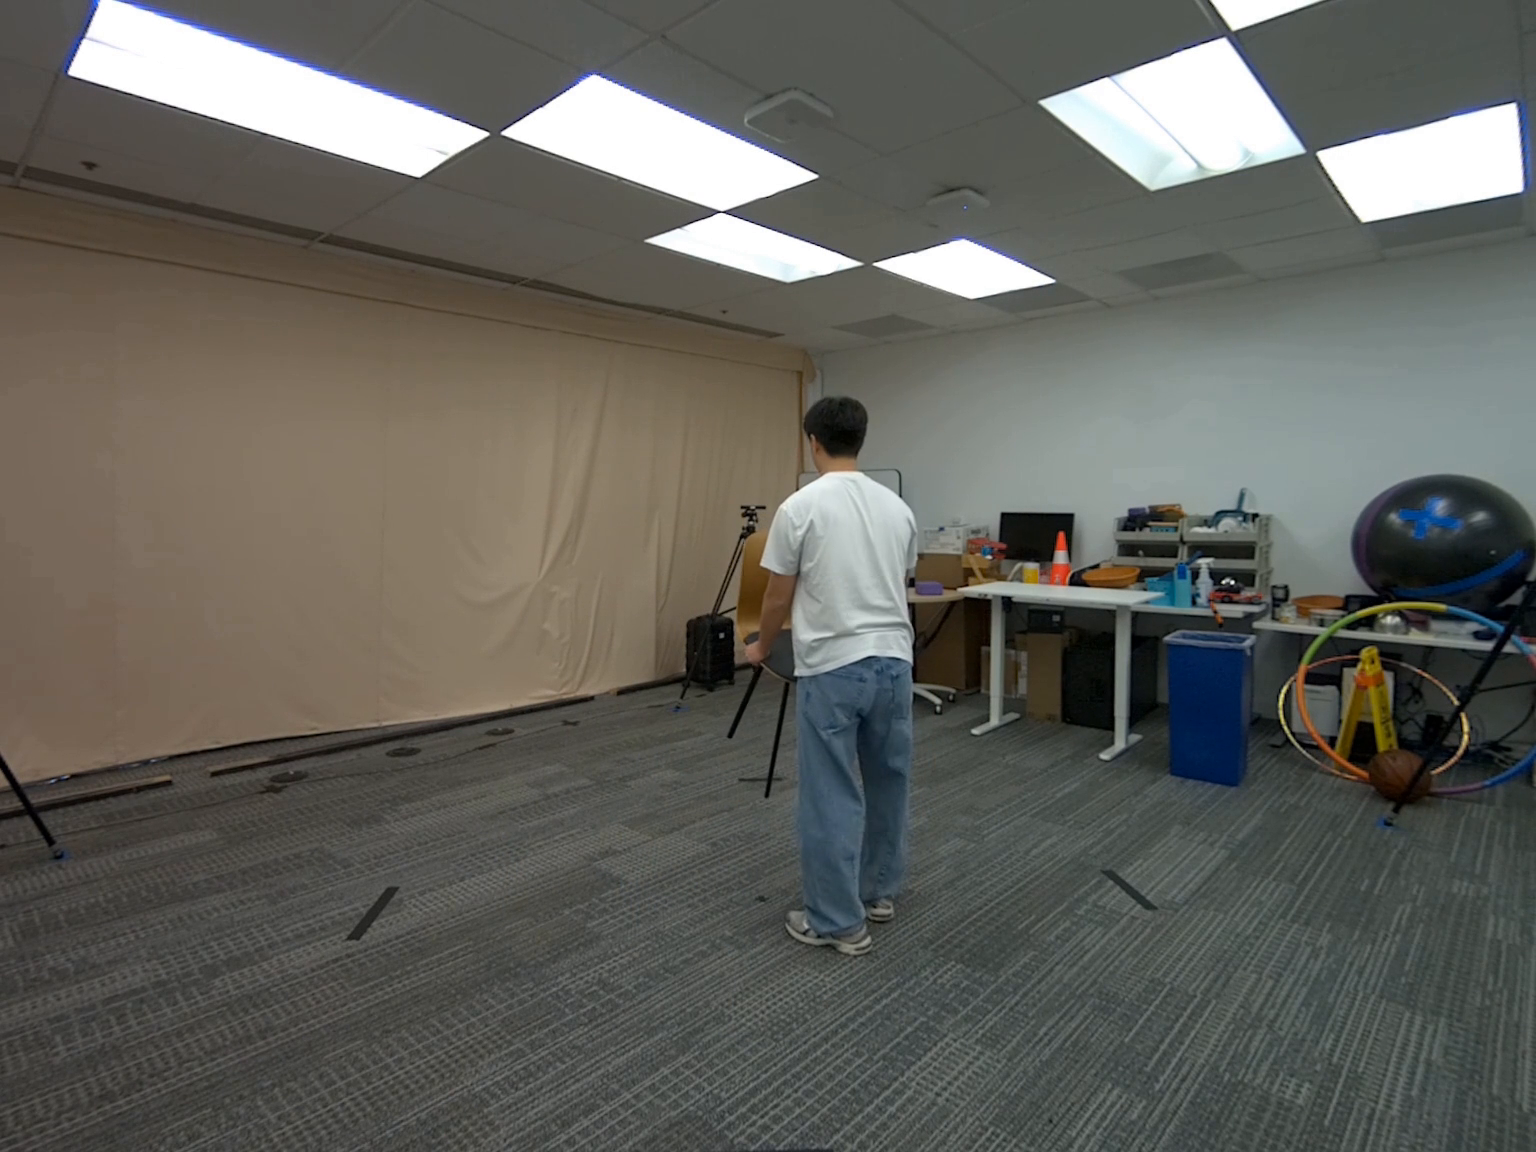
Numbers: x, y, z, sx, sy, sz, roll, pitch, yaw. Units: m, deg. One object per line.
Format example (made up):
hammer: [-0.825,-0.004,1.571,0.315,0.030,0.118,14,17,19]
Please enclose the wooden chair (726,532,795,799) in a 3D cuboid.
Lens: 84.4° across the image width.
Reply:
wooden chair: [0.146,0.301,3.104,0.469,0.871,0.537,-3,13,-20]
